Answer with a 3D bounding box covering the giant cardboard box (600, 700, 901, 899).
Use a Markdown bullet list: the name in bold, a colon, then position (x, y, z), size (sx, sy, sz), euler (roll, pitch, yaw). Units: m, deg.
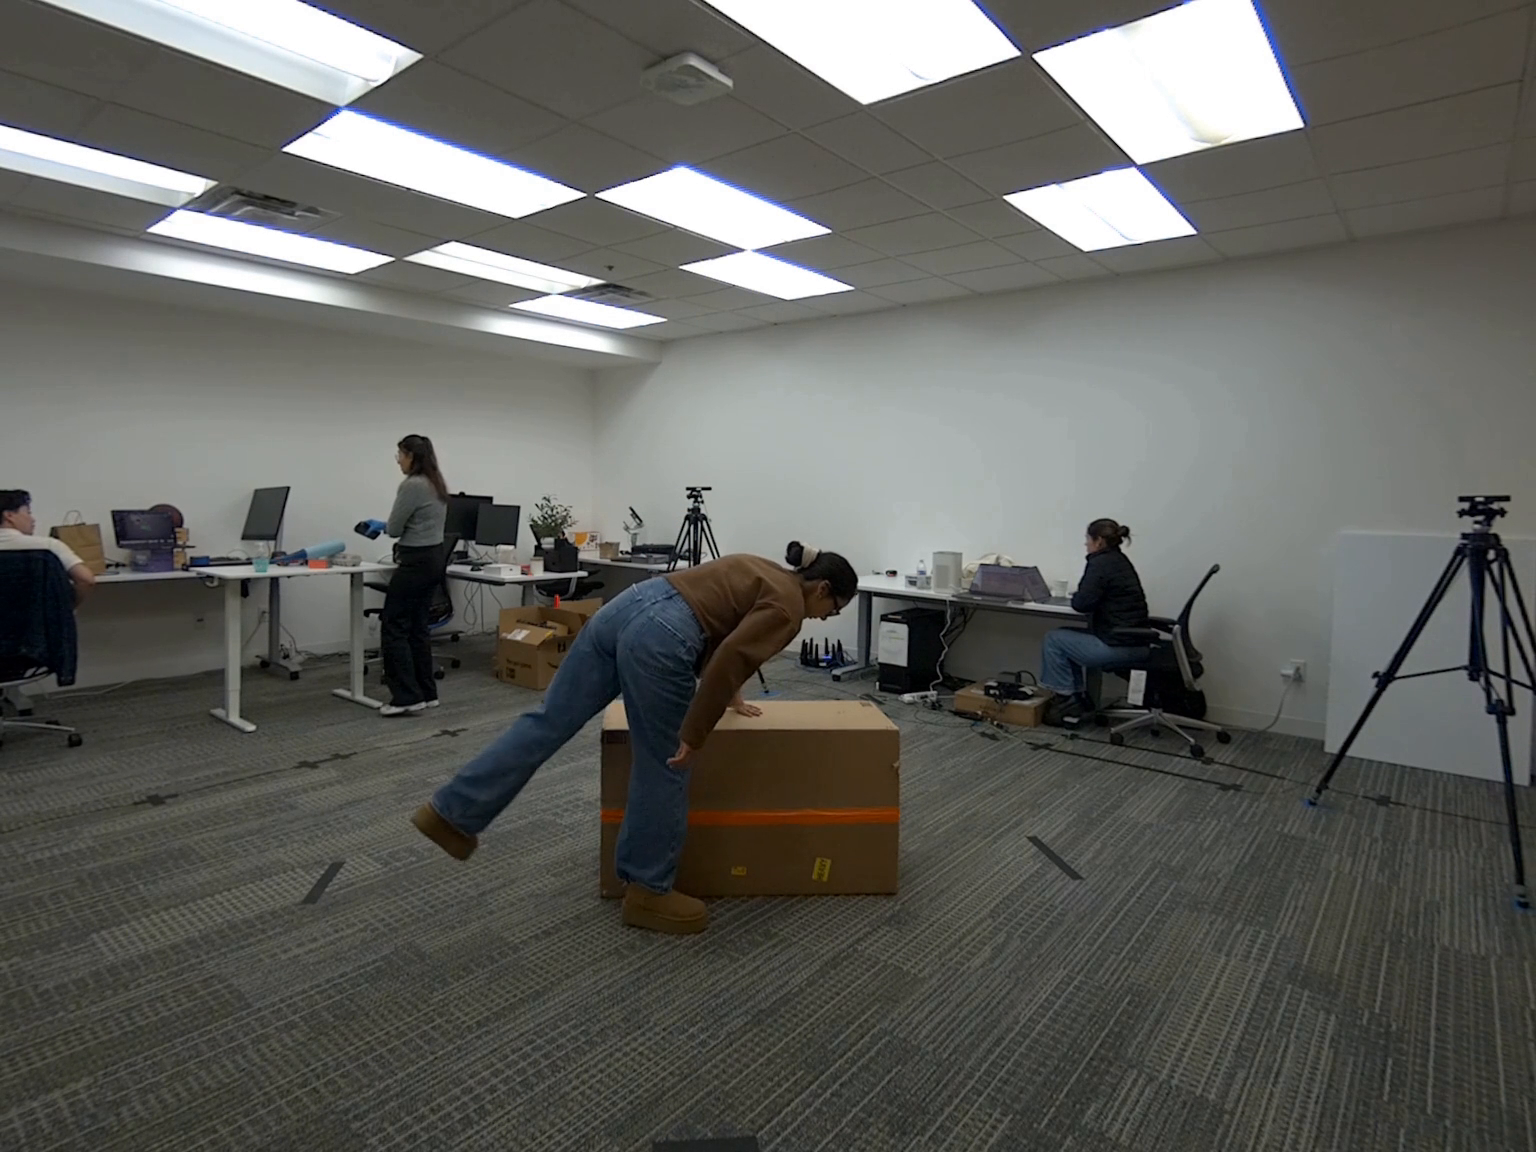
- **giant cardboard box**: position (-0.083, 0.786, 3.086), size (1.023, 0.583, 0.449), euler (0, 2, -4)
